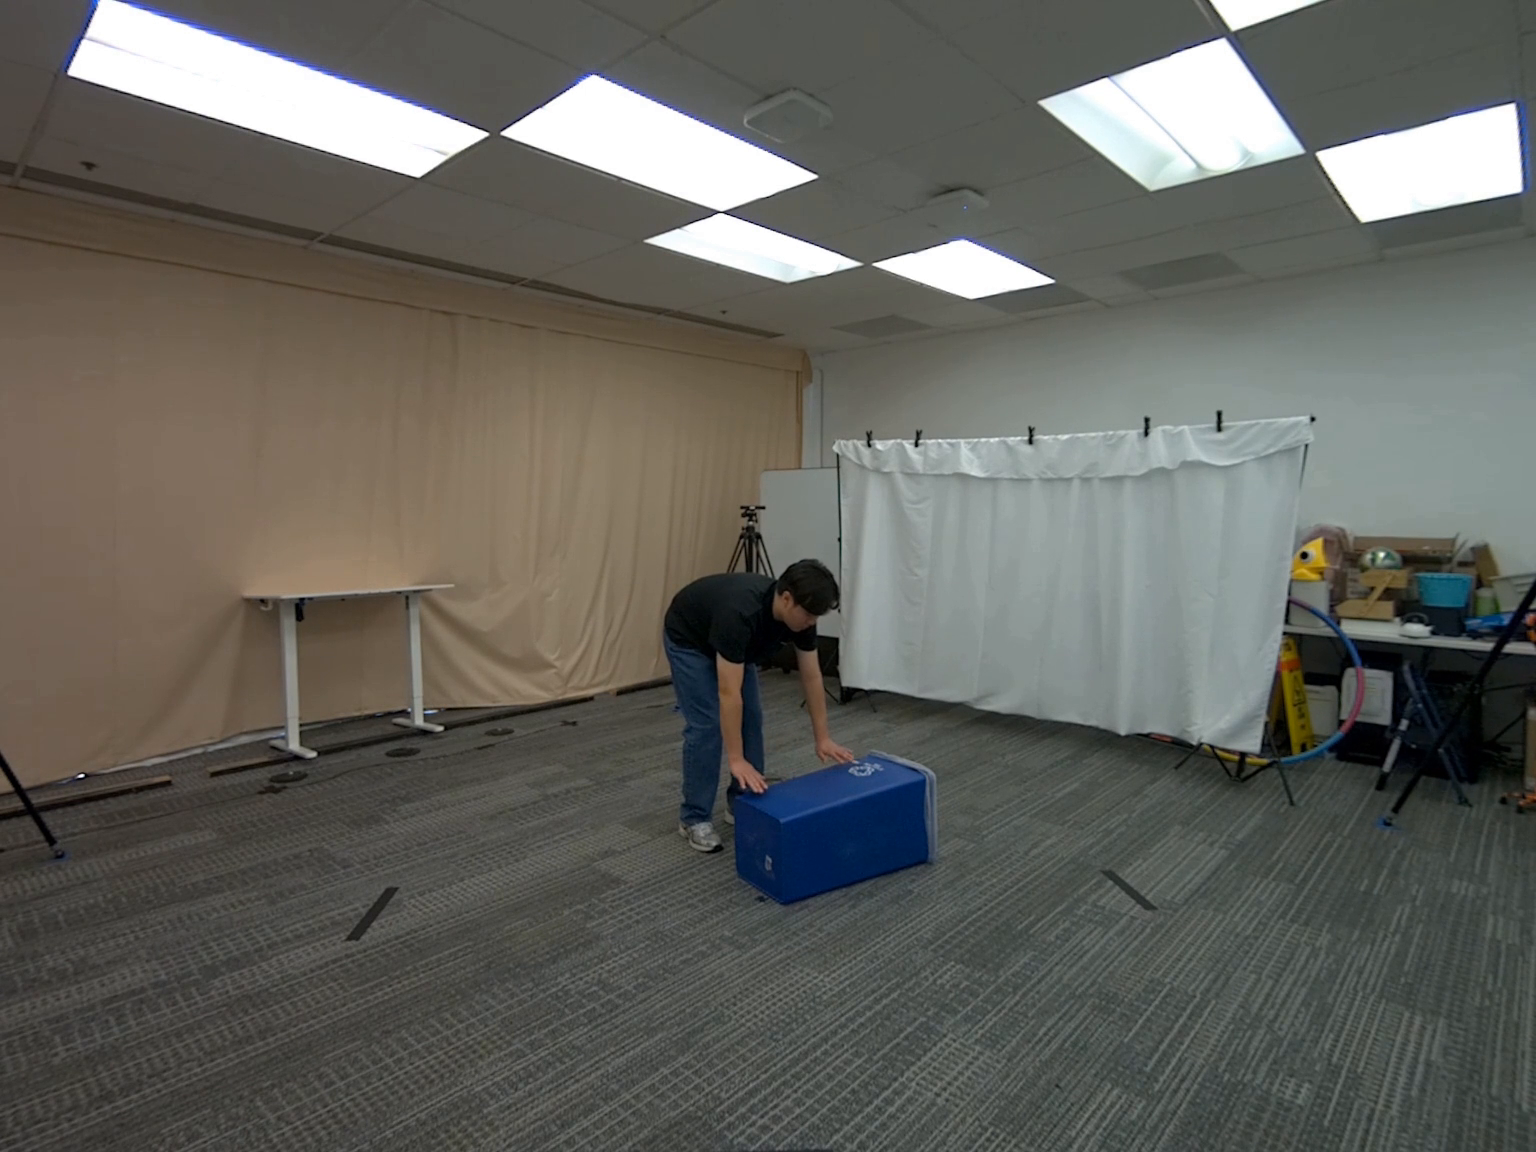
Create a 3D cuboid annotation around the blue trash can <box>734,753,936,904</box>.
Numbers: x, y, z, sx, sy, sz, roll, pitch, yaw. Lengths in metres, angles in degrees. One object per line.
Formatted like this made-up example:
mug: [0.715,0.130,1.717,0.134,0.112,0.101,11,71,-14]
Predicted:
blue trash can: [0.262,0.954,3.216,0.694,0.377,0.386,-7,7,-34]
